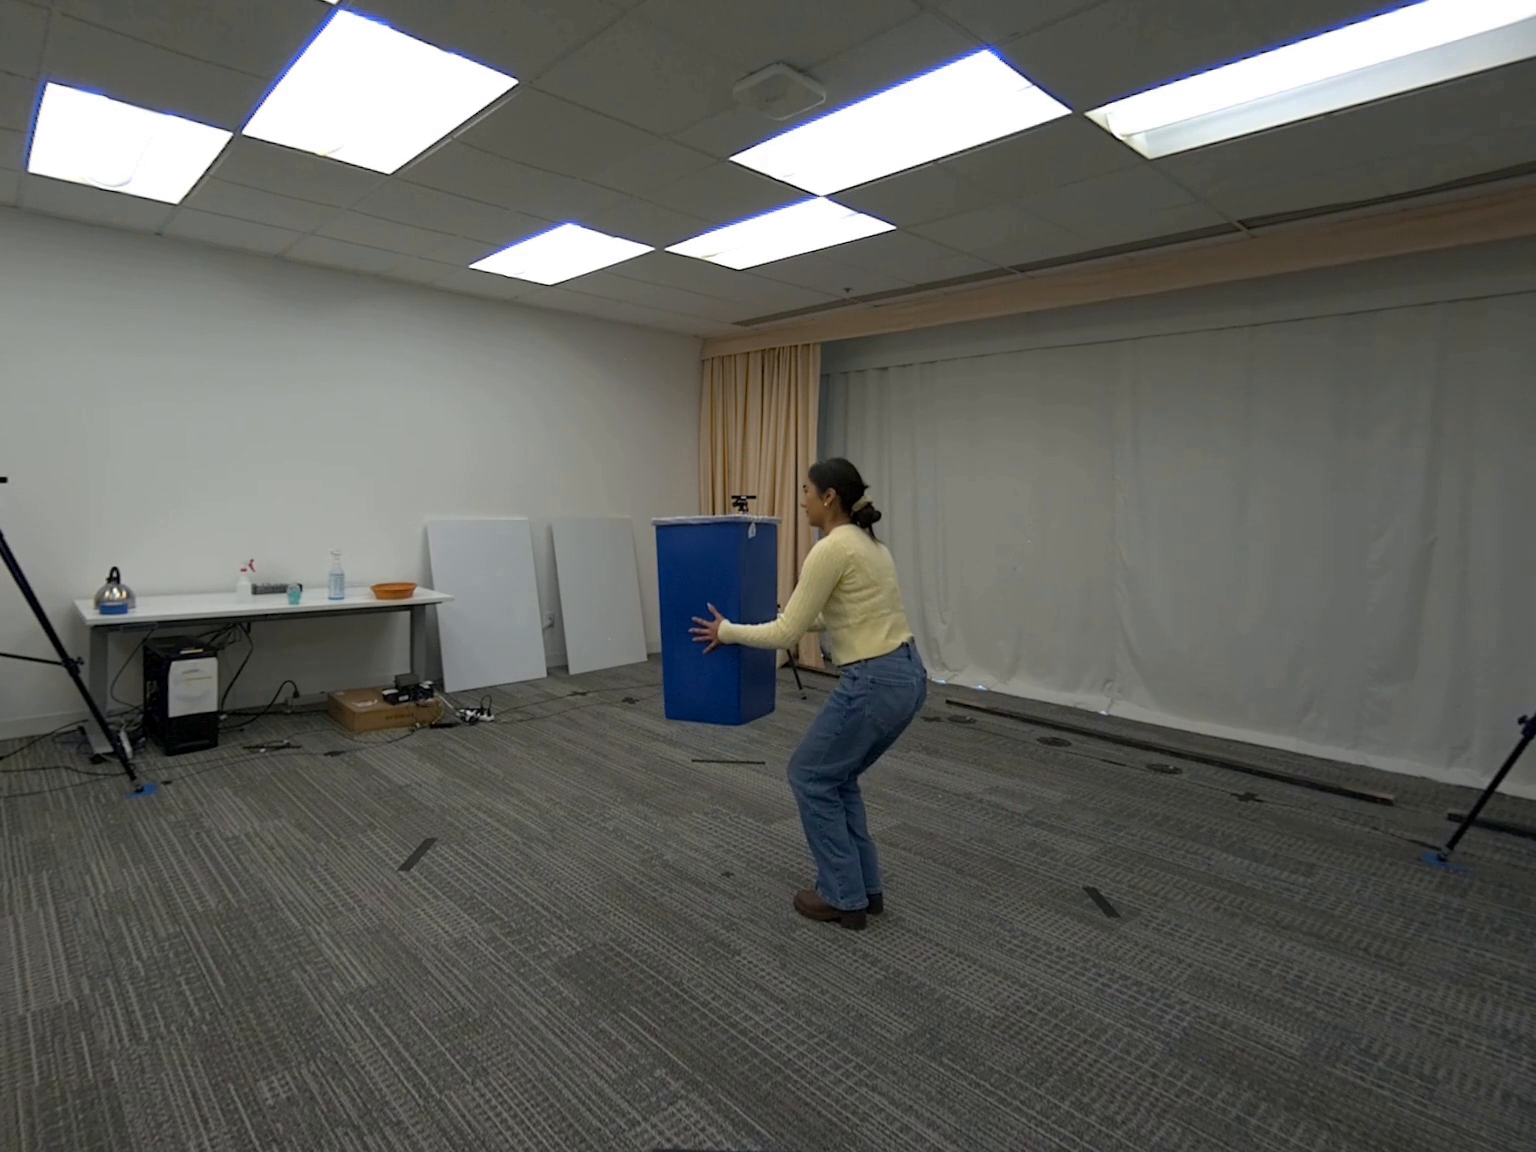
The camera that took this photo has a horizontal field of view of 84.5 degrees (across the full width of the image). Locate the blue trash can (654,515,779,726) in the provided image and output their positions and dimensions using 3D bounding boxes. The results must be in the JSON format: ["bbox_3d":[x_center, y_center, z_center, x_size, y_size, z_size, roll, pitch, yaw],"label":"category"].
[{"bbox_3d":[-0.186,0.152,3.044,0.381,0.714,0.371,0,0,26],"label":"blue trash can"}]
